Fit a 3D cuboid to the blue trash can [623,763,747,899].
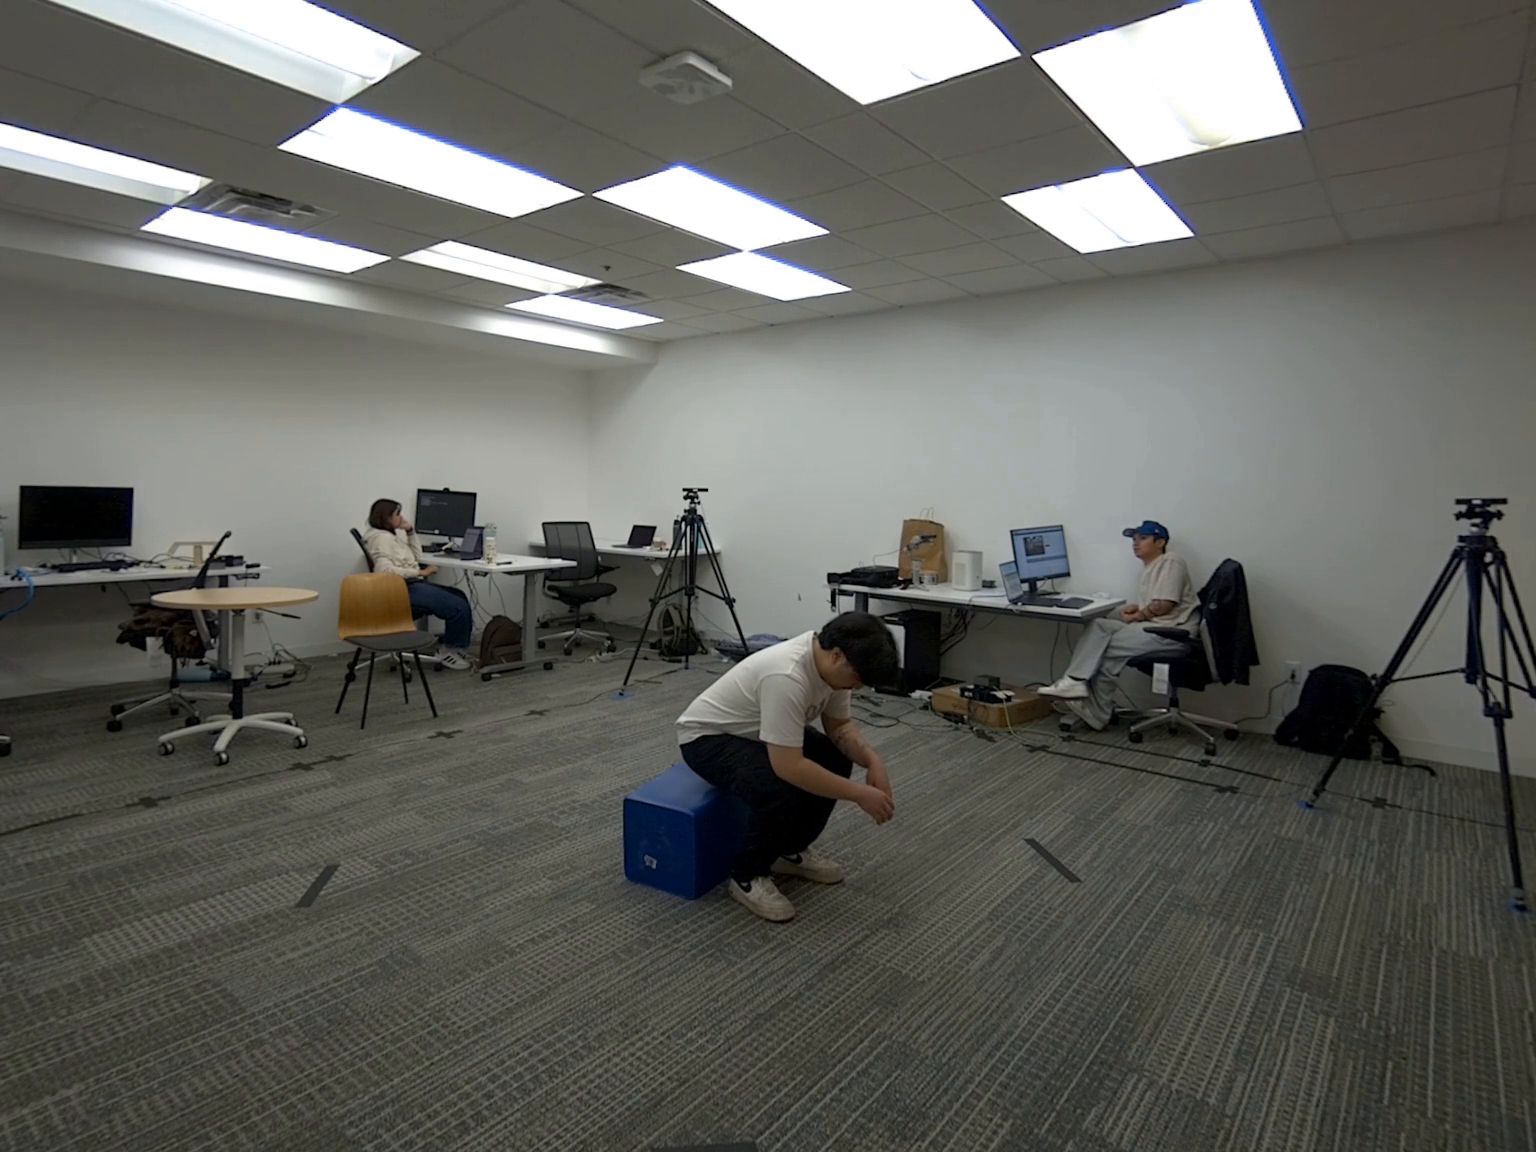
[{"bbox_3d":[-0.223,0.889,3.231,0.389,0.371,0.698,5,10,29],"label":"blue trash can"}]
